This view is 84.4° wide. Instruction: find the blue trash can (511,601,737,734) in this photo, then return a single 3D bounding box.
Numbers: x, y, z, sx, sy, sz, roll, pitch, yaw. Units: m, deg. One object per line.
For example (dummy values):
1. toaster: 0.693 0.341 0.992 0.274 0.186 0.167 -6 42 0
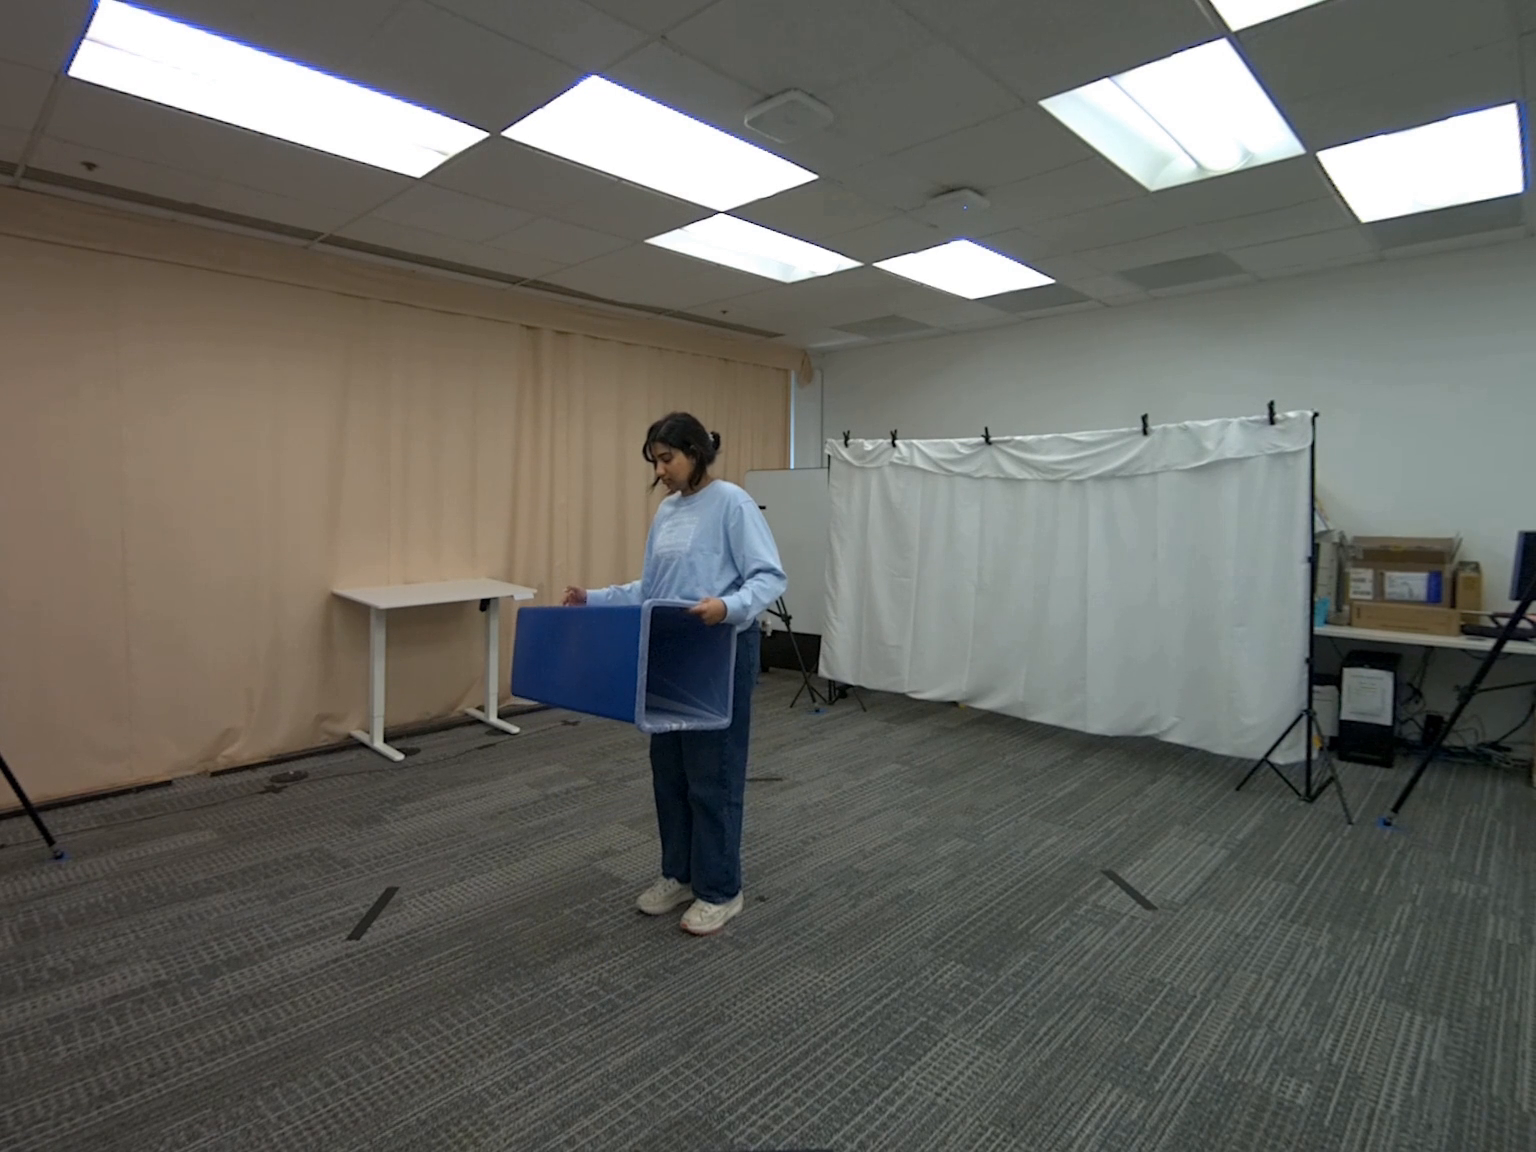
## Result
1. blue trash can: -0.492 0.259 2.686 0.736 0.375 0.365 0 -5 43
